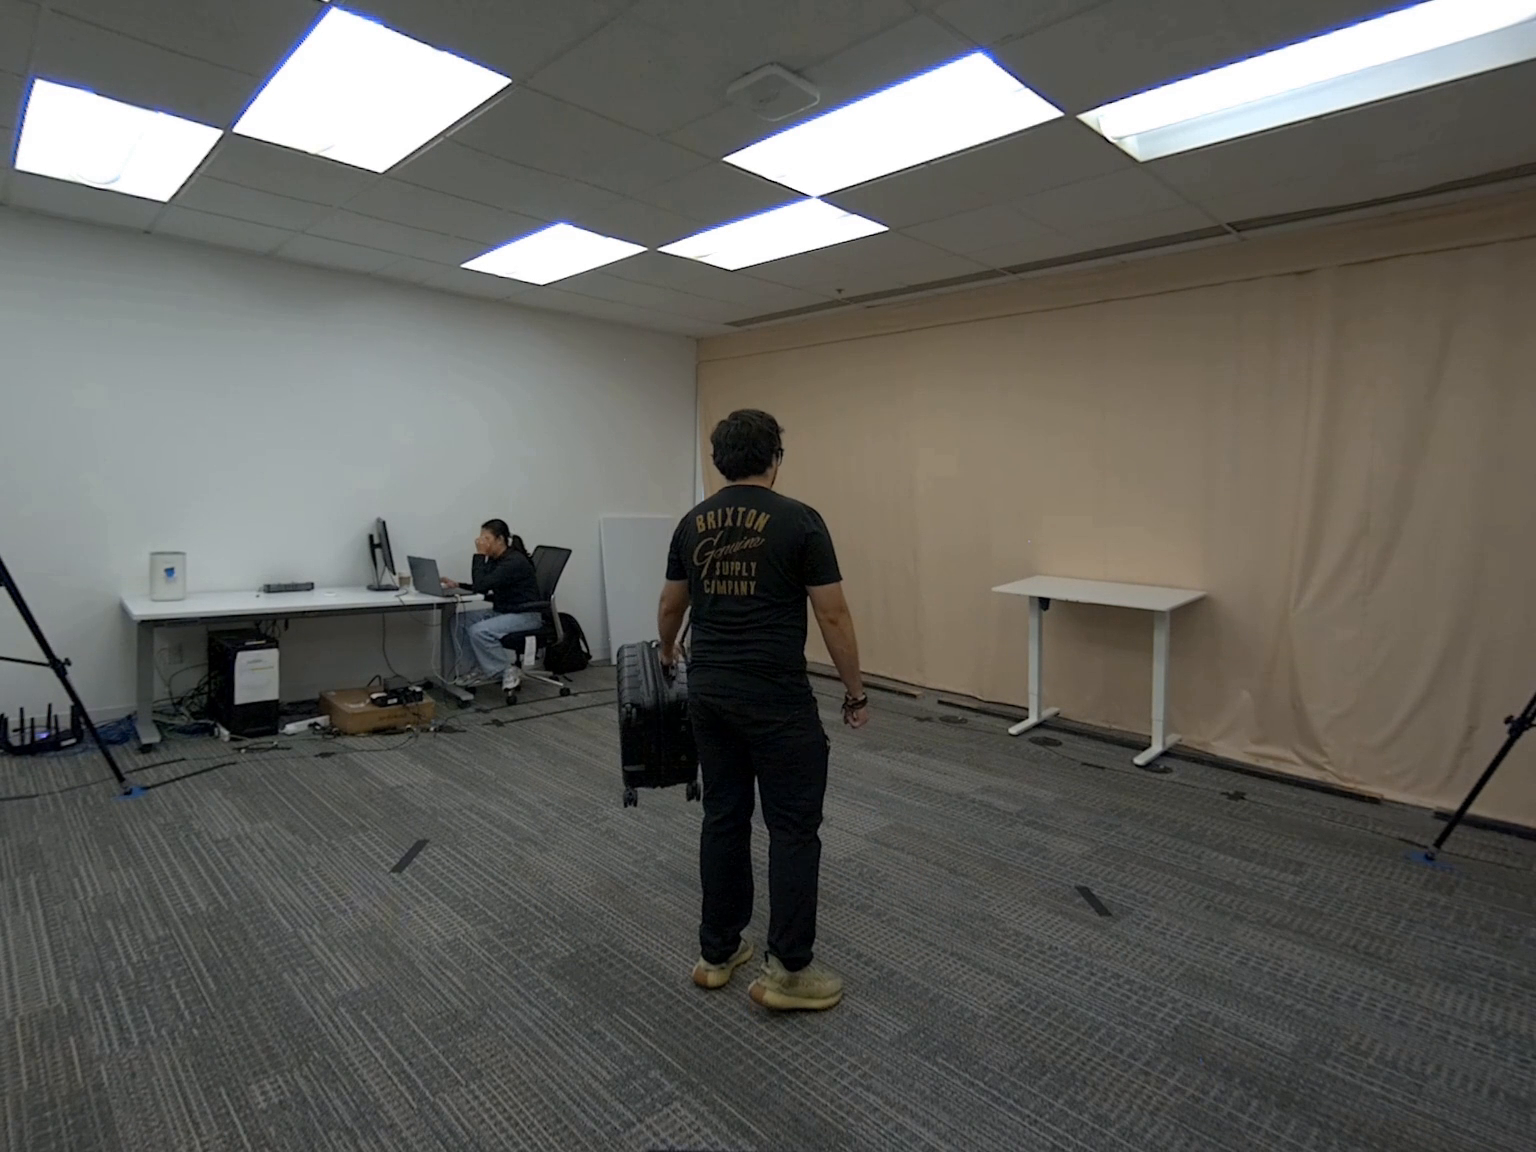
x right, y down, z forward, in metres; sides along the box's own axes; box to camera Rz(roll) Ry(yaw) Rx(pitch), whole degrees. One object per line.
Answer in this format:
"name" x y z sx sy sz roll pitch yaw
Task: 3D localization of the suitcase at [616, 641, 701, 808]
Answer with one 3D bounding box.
"suitcase" -0.441 0.408 3.098 0.254 0.379 1.000 -3 19 -13
